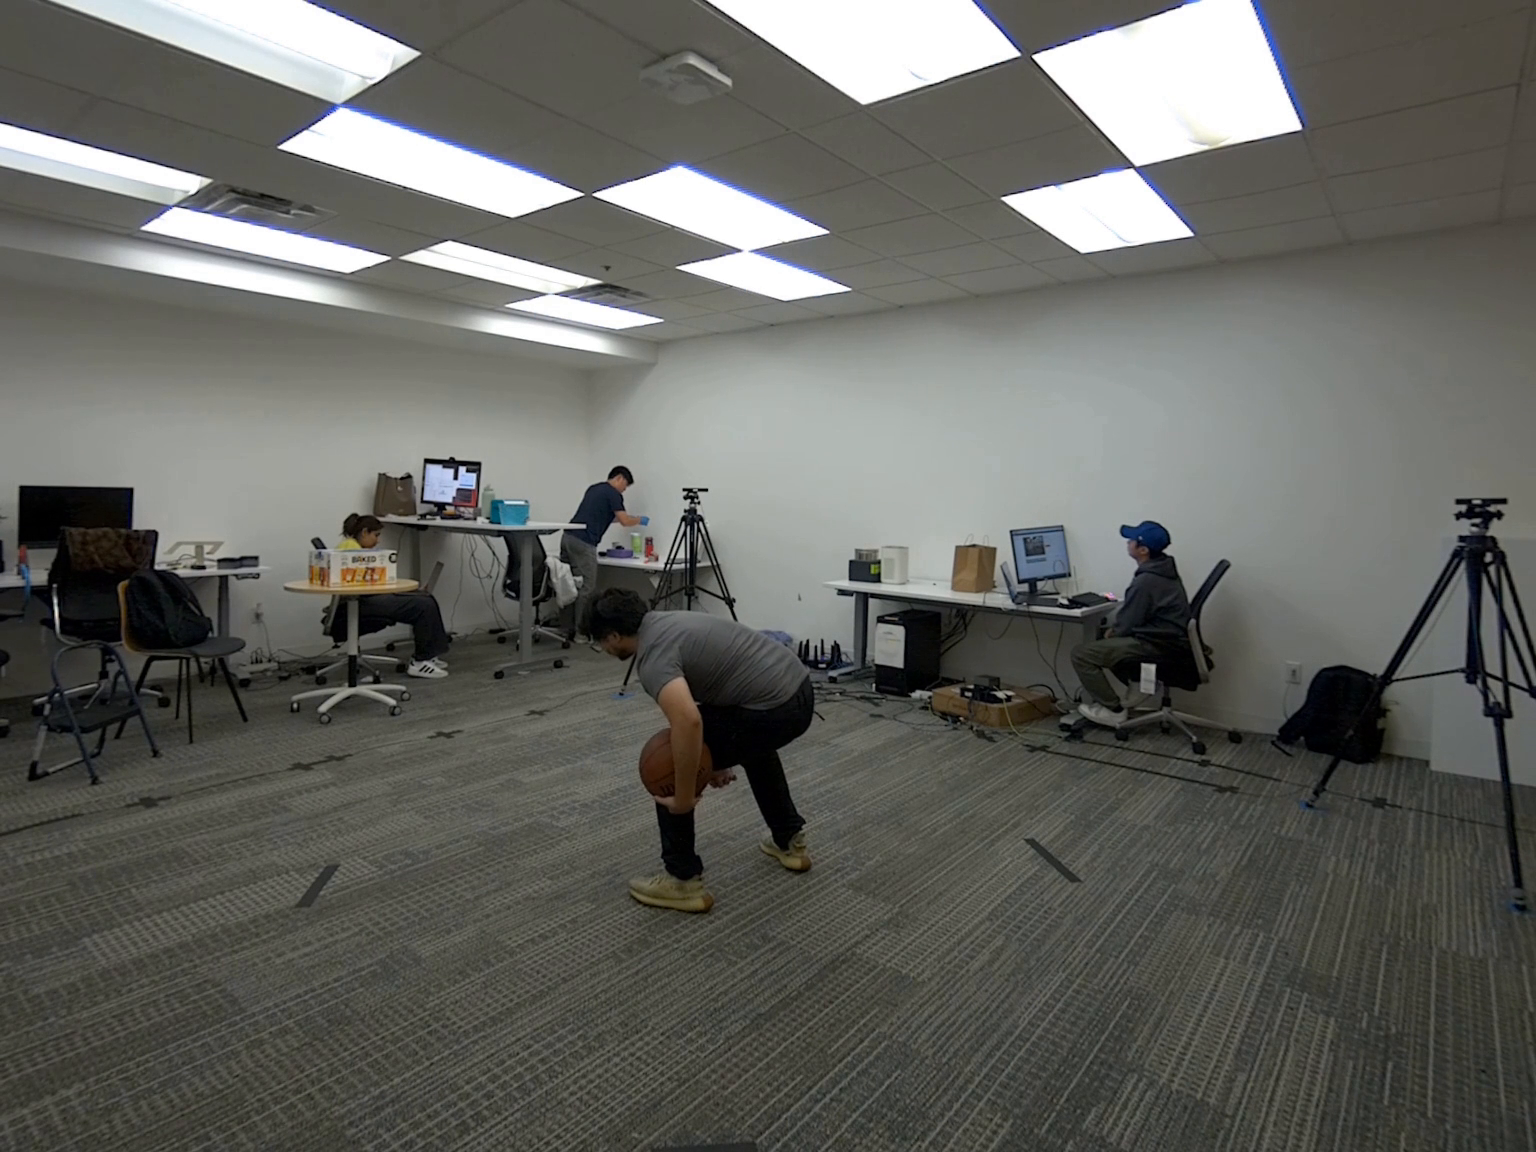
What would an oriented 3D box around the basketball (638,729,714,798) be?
[{"bbox_3d":[-0.317,0.607,2.757,0.235,0.235,0.237,1,4,-2],"label":"basketball"}]
